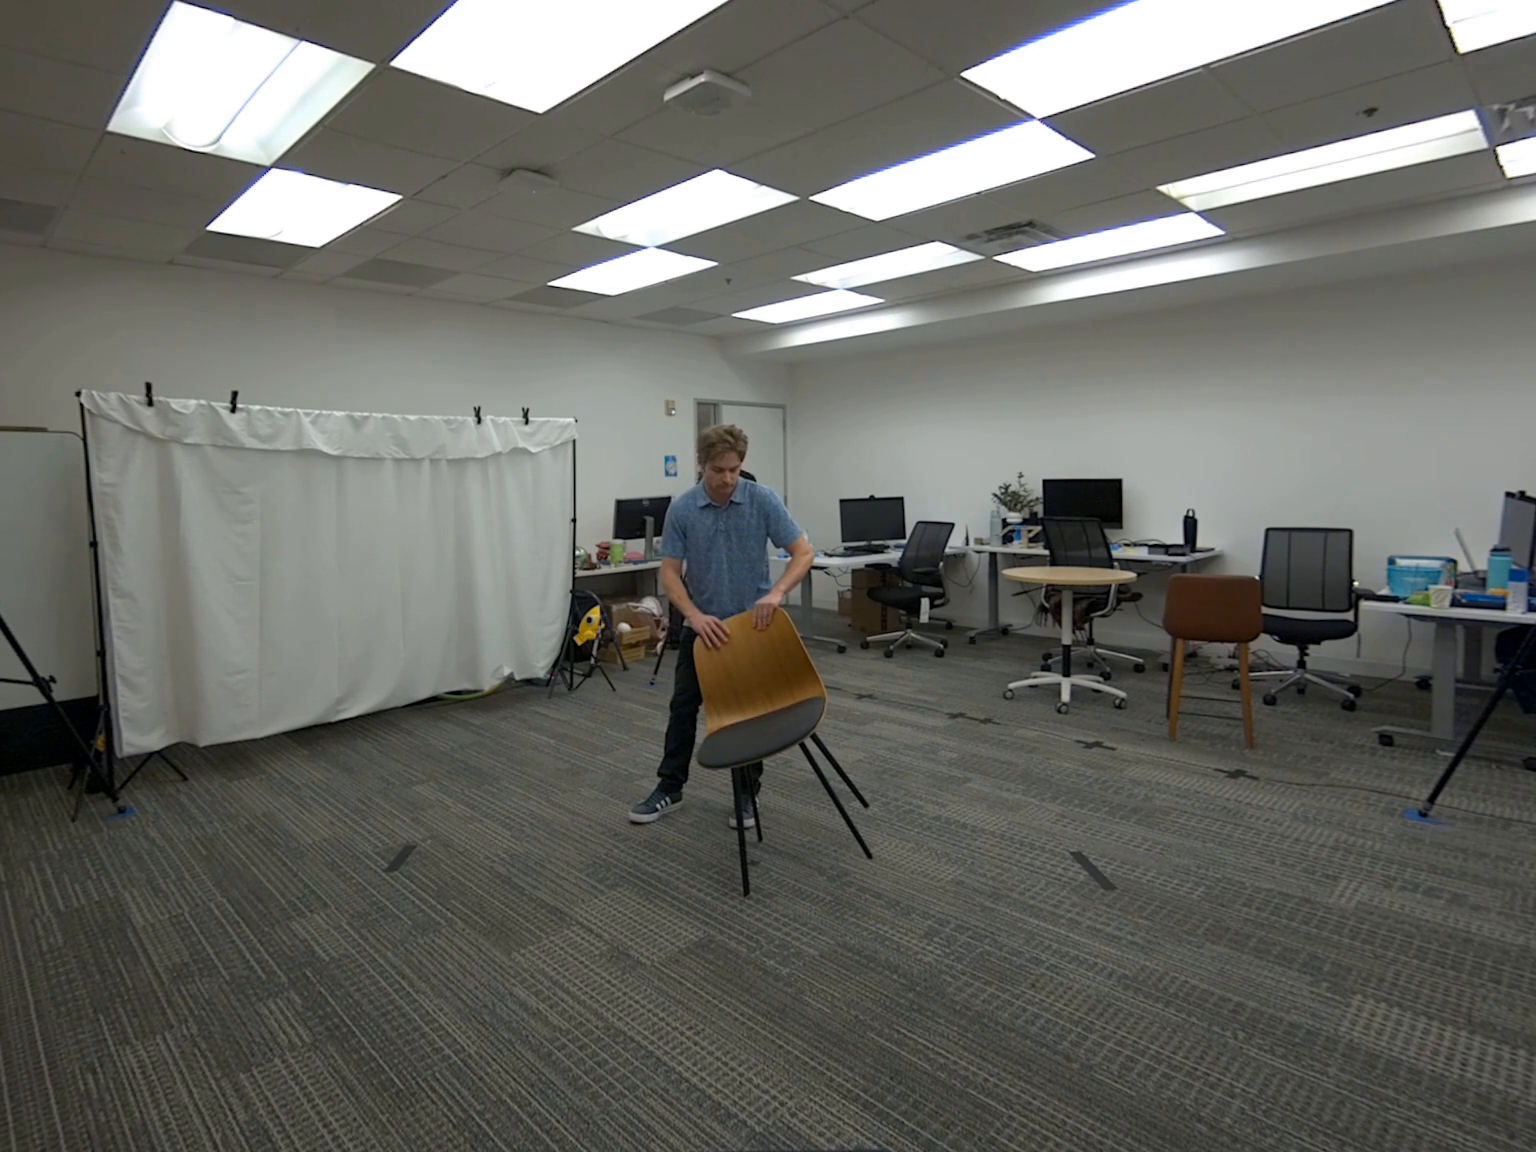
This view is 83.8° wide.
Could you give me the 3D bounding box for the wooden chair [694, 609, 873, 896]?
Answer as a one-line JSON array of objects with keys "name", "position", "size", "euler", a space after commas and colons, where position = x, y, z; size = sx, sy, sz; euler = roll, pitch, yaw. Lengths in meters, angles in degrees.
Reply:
[{"name": "wooden chair", "position": [0.011, 0.577, 3.020], "size": [0.480, 0.880, 0.519], "euler": [-20, -2, 8]}]
